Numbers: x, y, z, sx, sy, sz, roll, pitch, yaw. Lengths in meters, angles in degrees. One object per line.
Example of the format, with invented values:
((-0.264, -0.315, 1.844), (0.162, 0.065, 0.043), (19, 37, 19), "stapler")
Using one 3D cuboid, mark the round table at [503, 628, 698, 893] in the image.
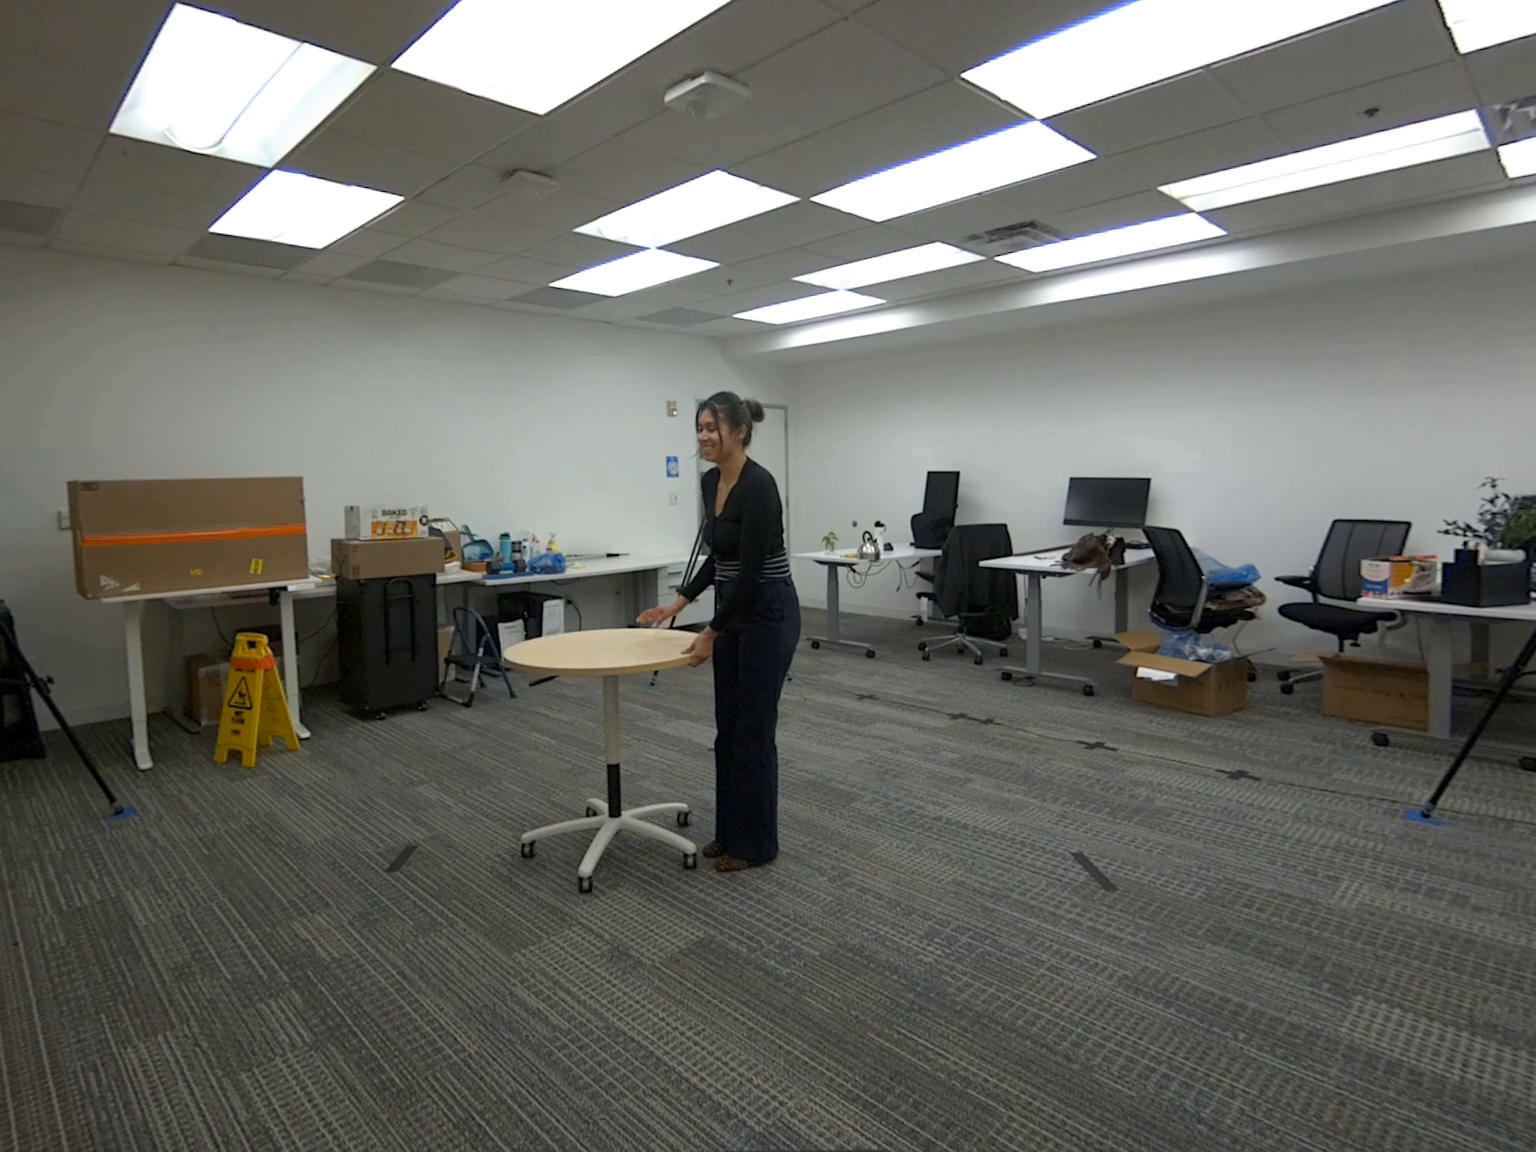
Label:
((-0.573, 0.653, 3.197), (0.763, 0.791, 0.768), (-2, 5, -2), "round table")
